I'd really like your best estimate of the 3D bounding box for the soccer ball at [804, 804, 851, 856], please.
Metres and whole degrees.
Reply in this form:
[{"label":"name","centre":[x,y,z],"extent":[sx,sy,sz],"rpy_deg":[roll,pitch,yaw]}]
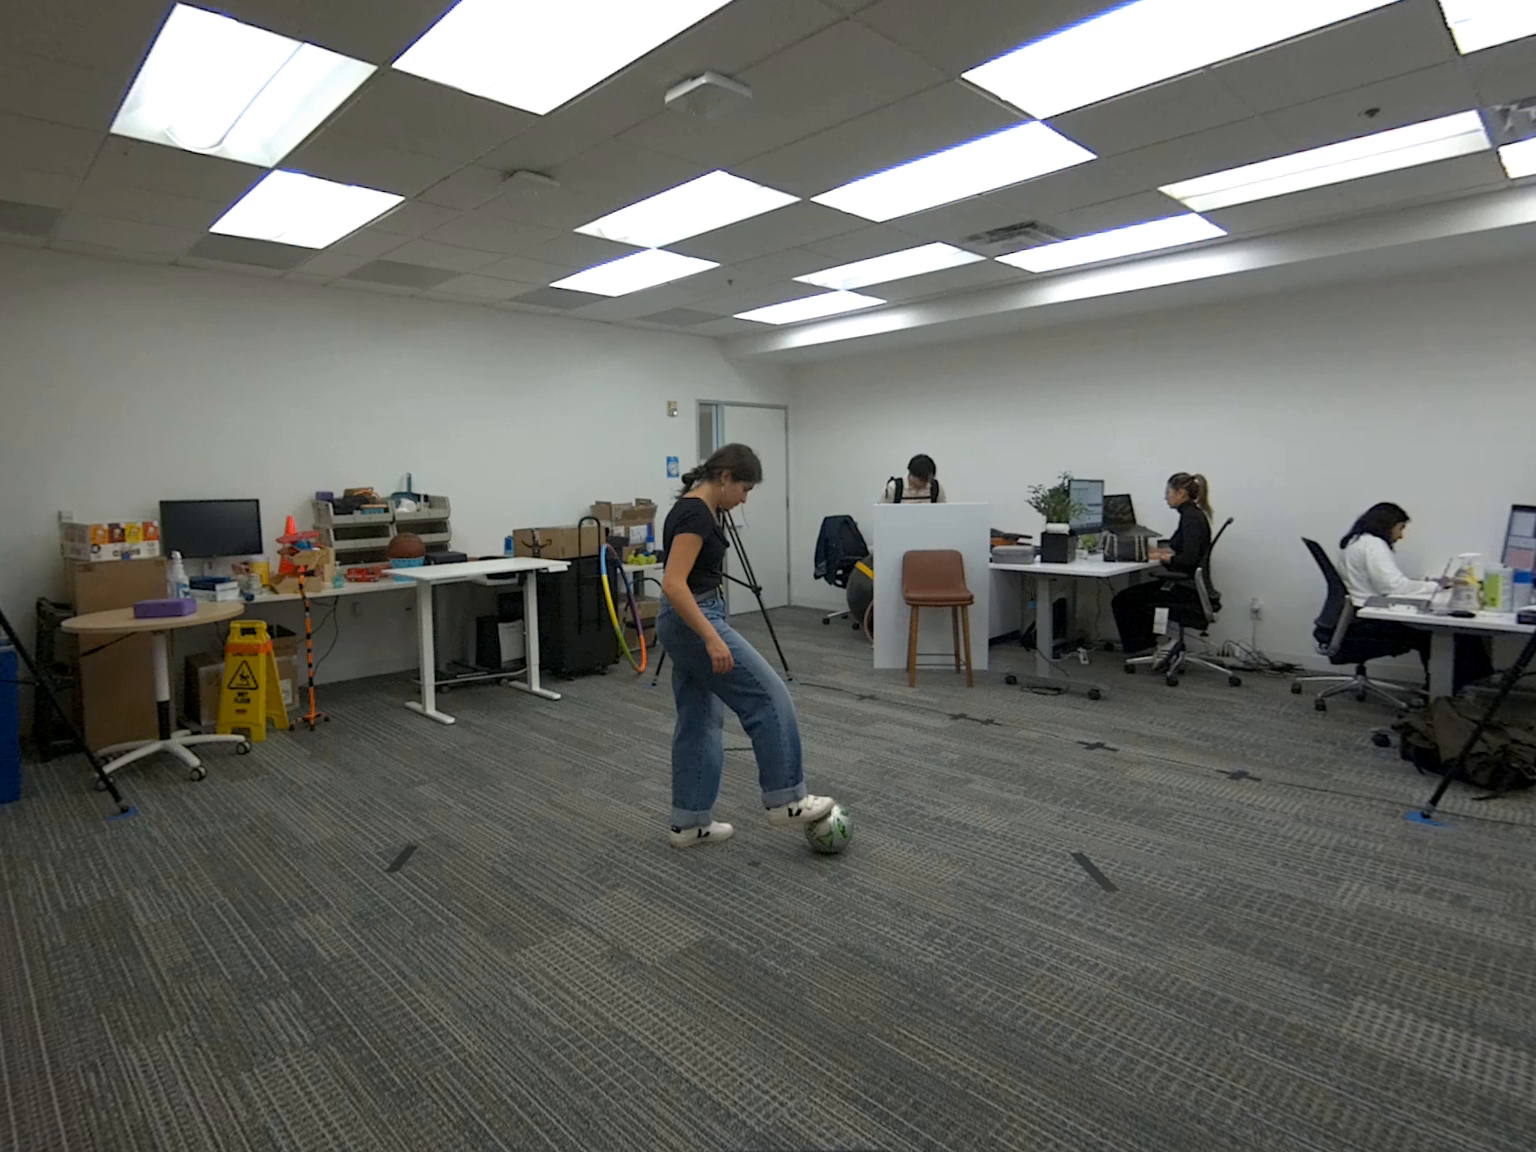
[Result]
[{"label":"soccer ball","centre":[0.221,0.932,3.202],"extent":[0.187,0.187,0.188],"rpy_deg":[-1,5,-2]}]
